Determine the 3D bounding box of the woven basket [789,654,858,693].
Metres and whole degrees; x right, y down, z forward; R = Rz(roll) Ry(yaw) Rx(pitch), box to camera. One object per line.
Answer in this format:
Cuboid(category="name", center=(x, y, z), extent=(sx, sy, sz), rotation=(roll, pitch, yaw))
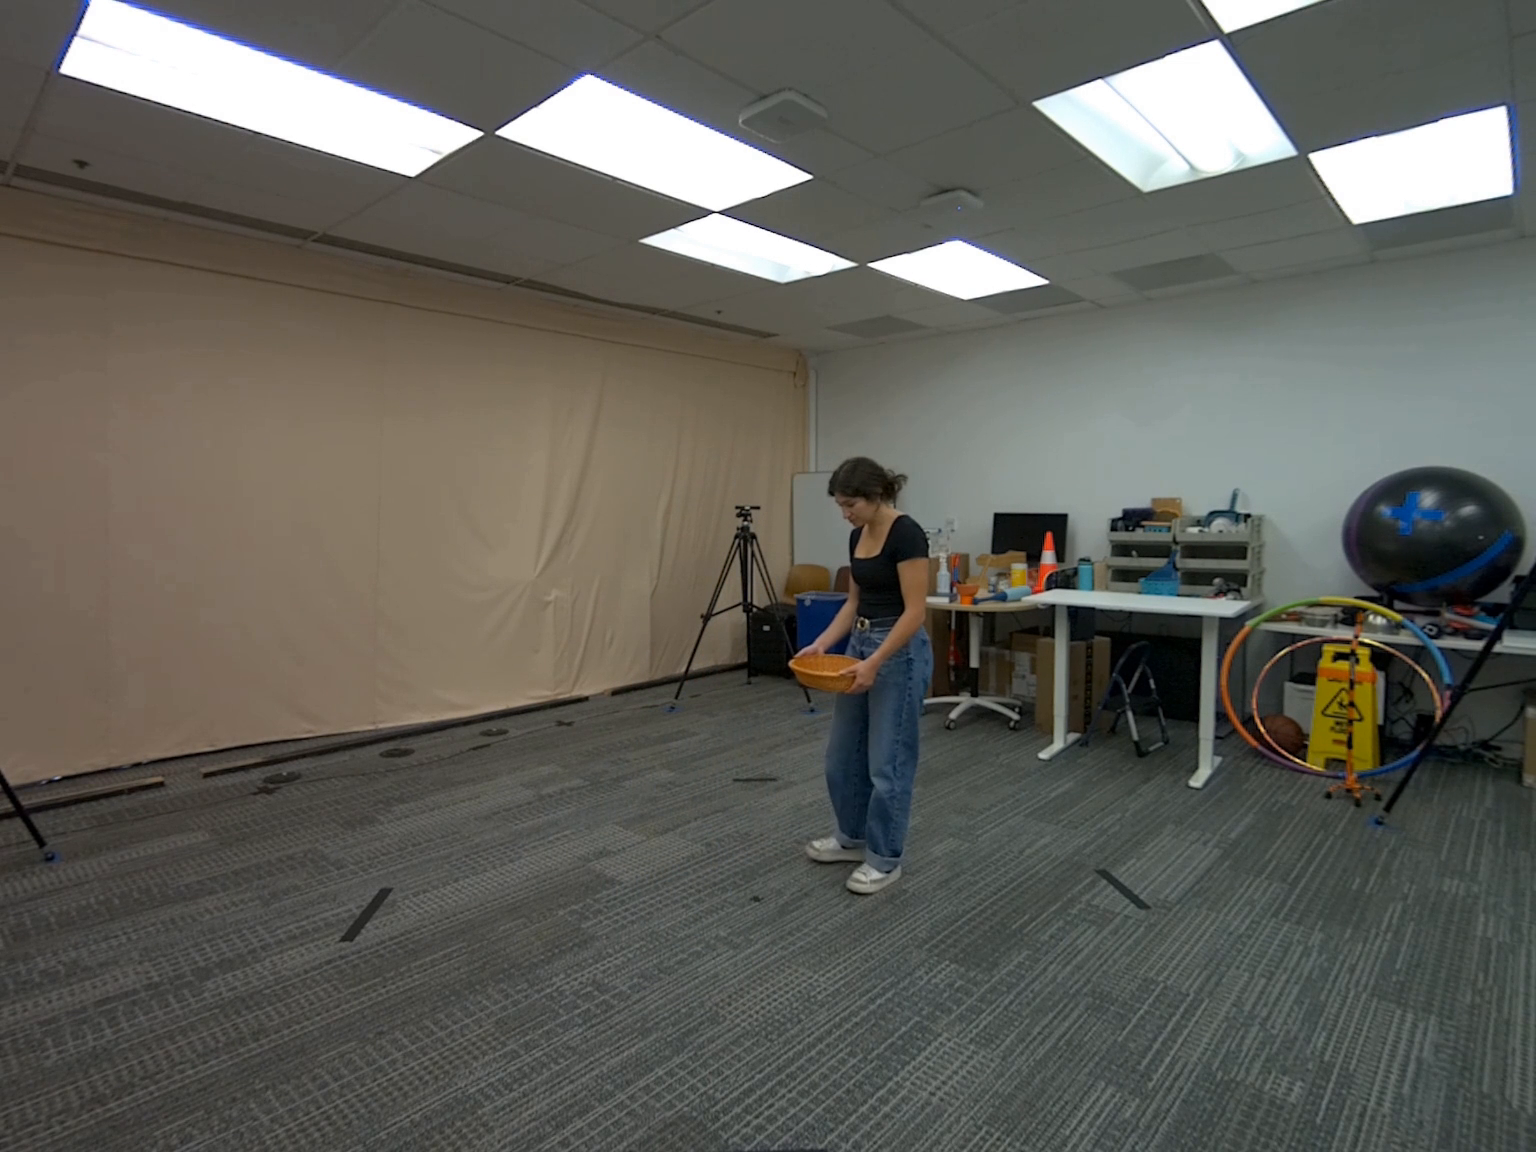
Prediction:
Cuboid(category="woven basket", center=(0.227, 0.353, 3.013), extent=(0.248, 0.073, 0.358), rotation=(-5, 6, -19))
